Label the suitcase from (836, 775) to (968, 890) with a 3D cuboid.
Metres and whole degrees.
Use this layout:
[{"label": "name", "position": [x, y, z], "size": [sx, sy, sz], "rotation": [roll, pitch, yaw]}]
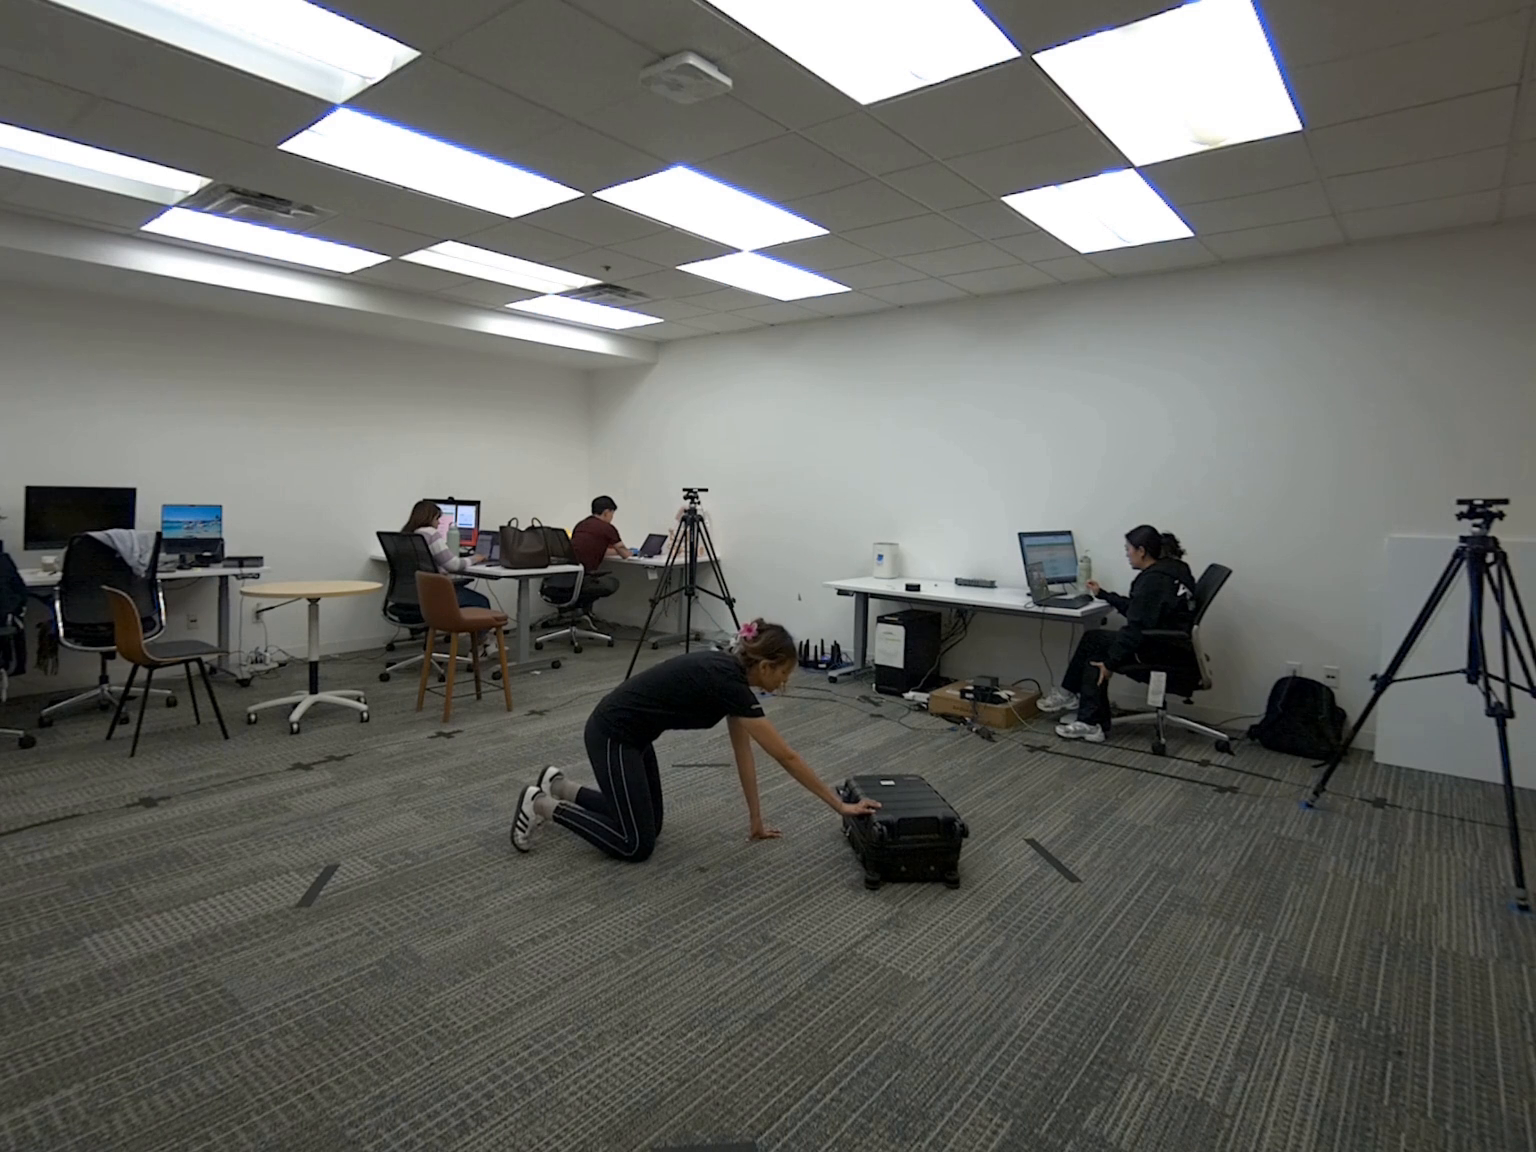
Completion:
[{"label": "suitcase", "position": [0.463, 0.926, 3.460], "size": [0.381, 0.255, 0.991], "rotation": [-2, 8, -8]}]
